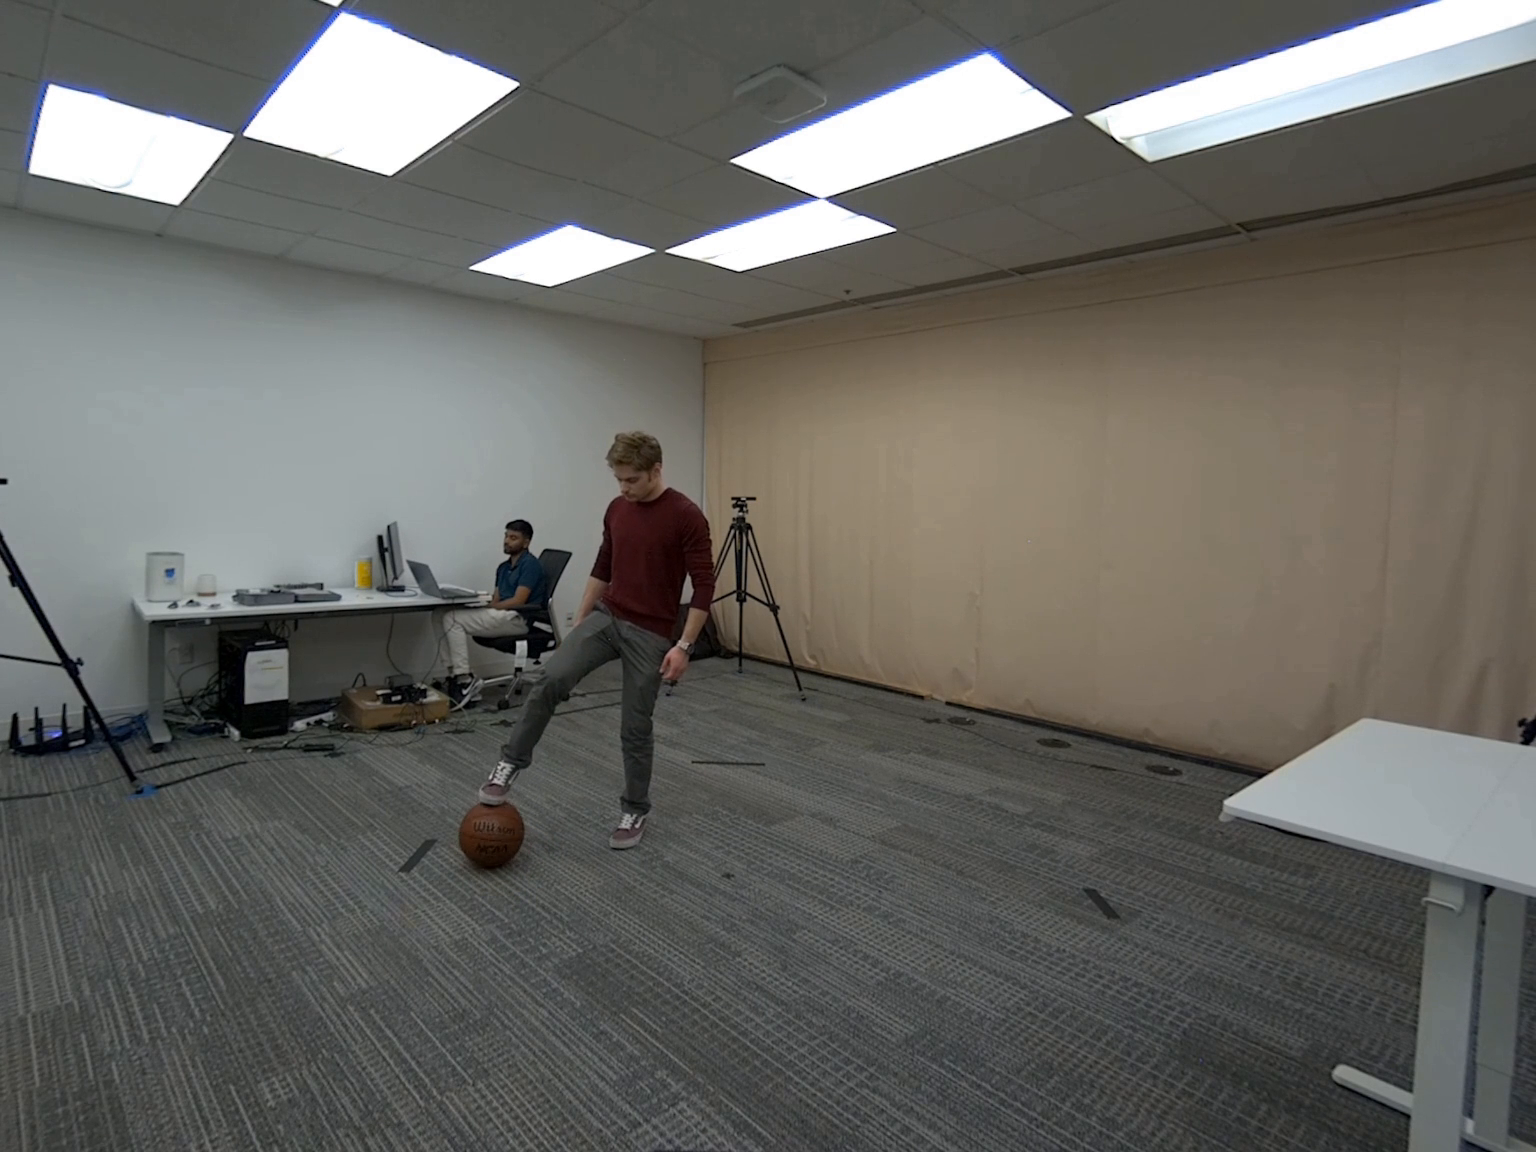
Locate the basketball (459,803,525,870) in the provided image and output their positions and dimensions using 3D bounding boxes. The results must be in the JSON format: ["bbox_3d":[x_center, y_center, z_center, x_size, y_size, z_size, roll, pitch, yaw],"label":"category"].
[{"bbox_3d":[-1.034,0.963,3.148,0.236,0.235,0.237,1,4,-1],"label":"basketball"}]
